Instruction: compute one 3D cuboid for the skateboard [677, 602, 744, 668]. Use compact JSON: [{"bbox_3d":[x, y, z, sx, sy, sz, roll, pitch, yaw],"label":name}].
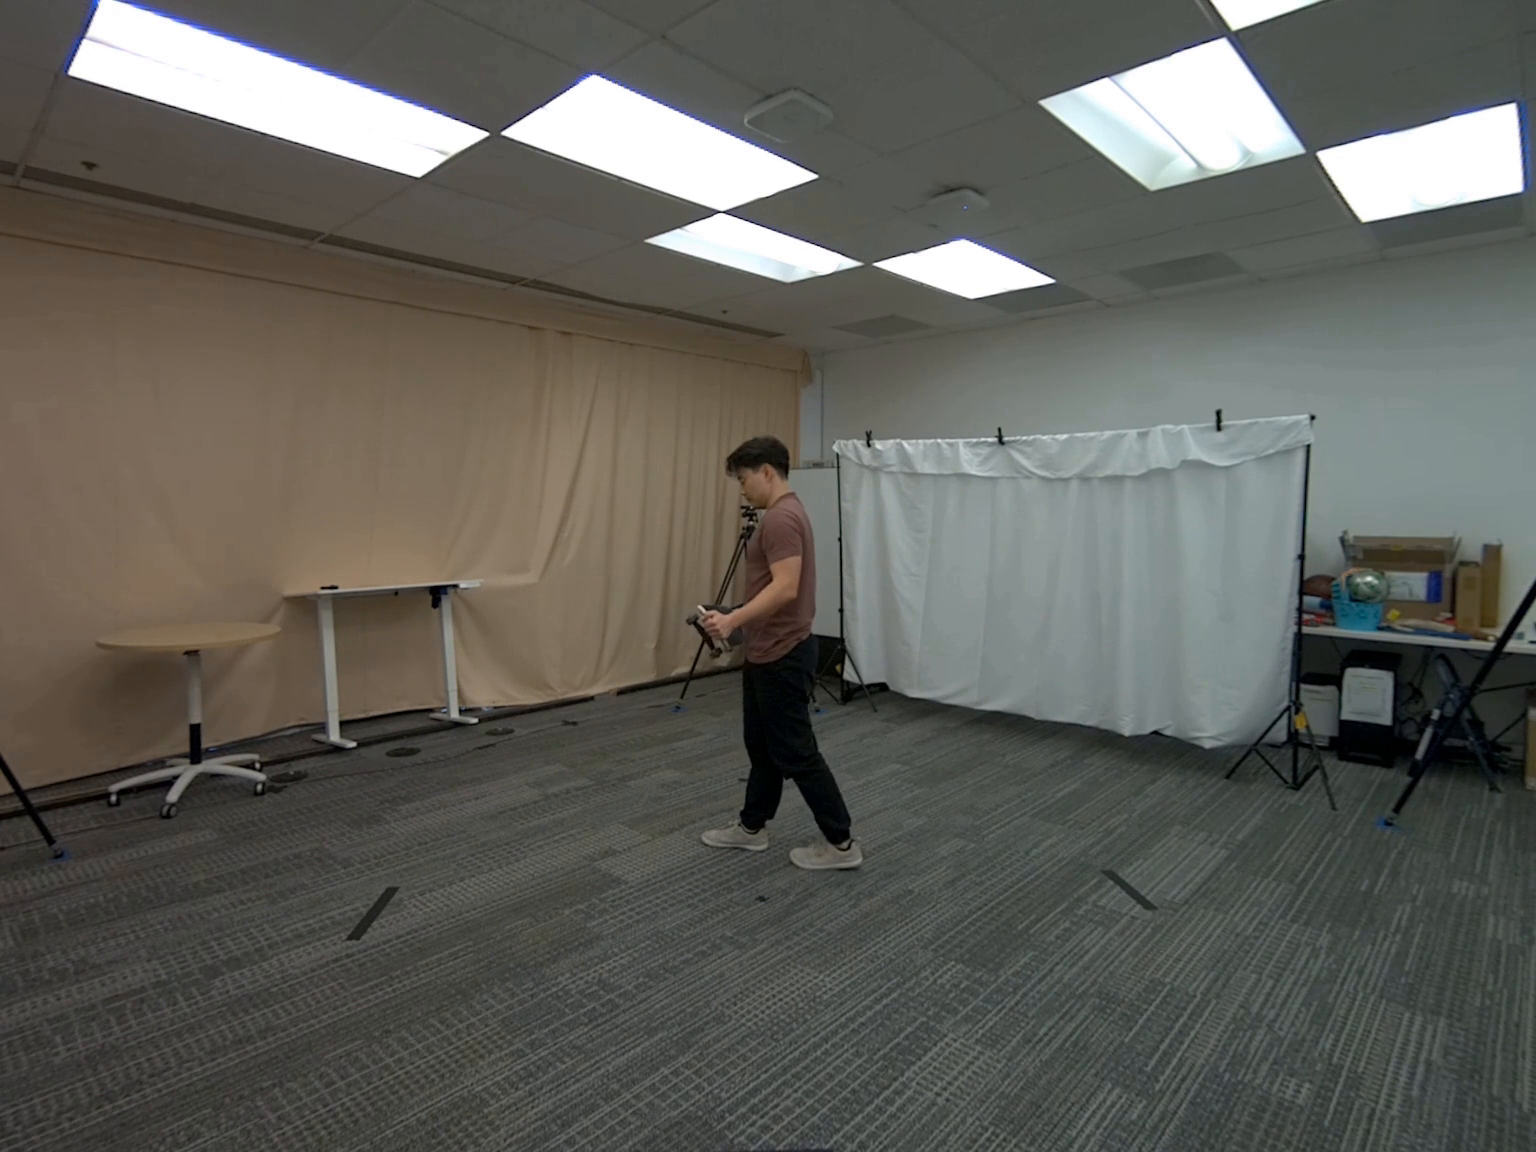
[{"bbox_3d":[-0.192,0.214,3.323,0.110,0.195,0.779,-32,-4,2],"label":"skateboard"}]
